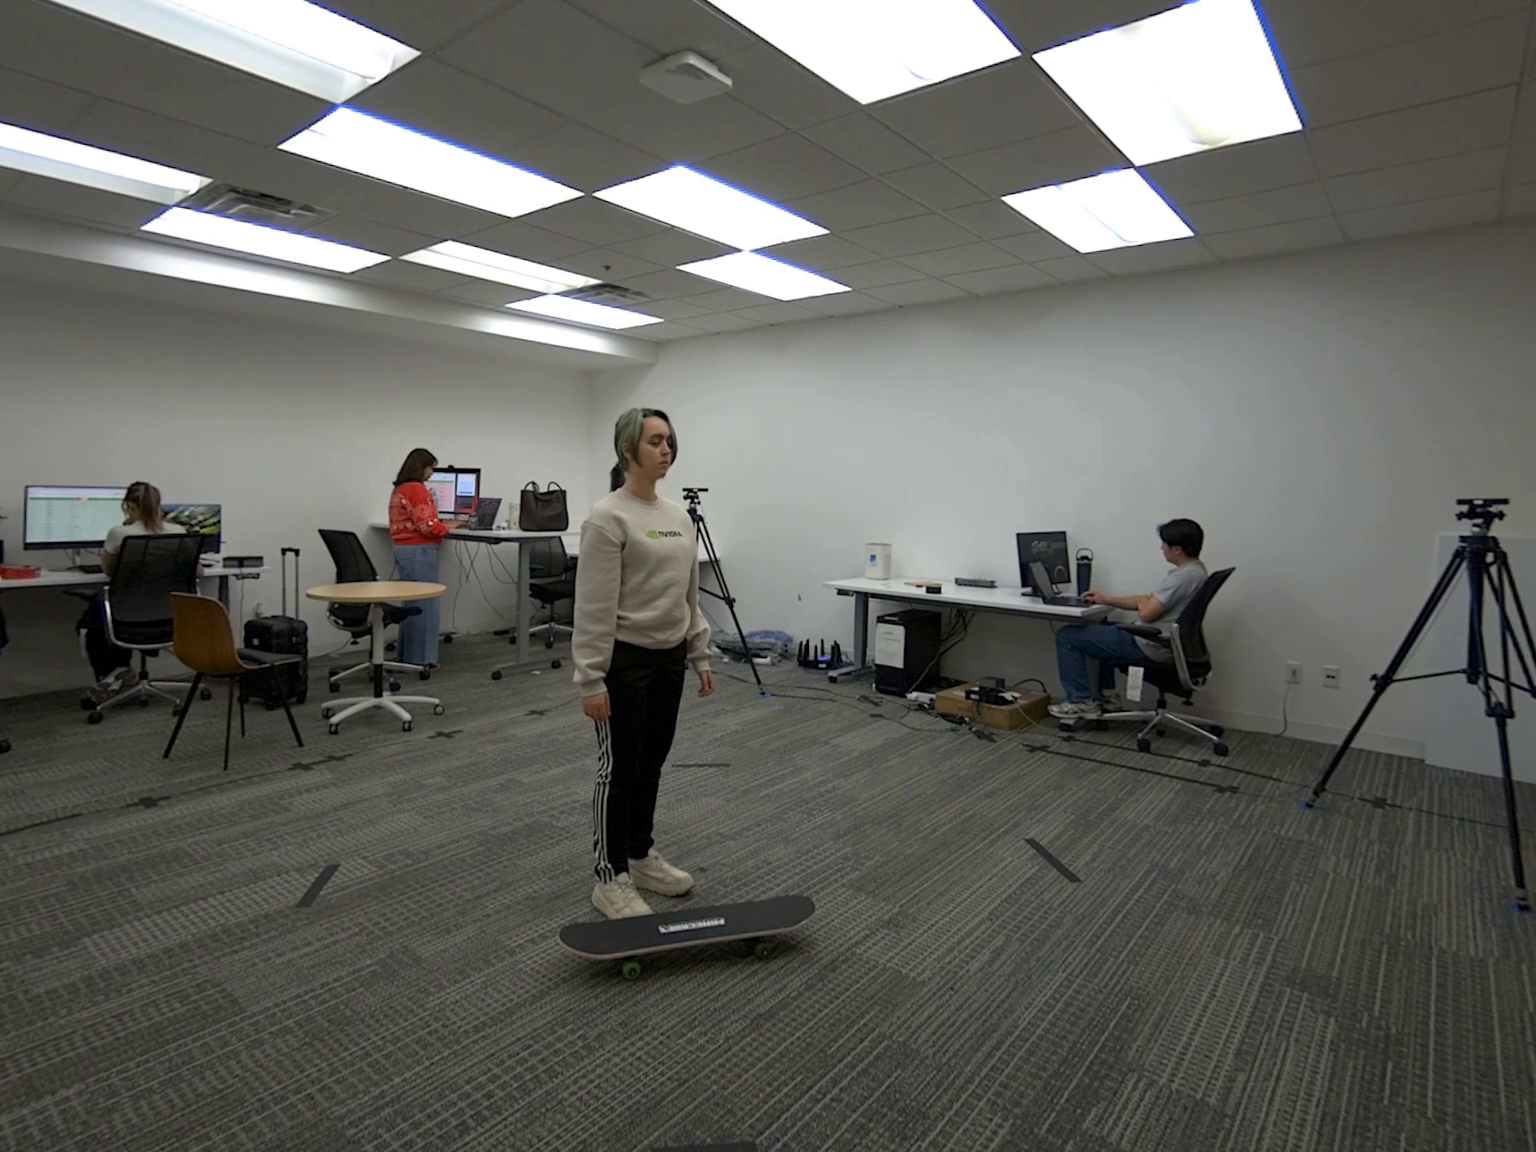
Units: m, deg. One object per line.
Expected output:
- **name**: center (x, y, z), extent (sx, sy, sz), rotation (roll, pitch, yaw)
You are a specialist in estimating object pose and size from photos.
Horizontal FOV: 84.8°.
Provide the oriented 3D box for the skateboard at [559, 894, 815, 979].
- **skateboard**: center (-0.226, 1.069, 2.530), extent (0.771, 0.110, 0.198), rotation (-1, 6, -18)
